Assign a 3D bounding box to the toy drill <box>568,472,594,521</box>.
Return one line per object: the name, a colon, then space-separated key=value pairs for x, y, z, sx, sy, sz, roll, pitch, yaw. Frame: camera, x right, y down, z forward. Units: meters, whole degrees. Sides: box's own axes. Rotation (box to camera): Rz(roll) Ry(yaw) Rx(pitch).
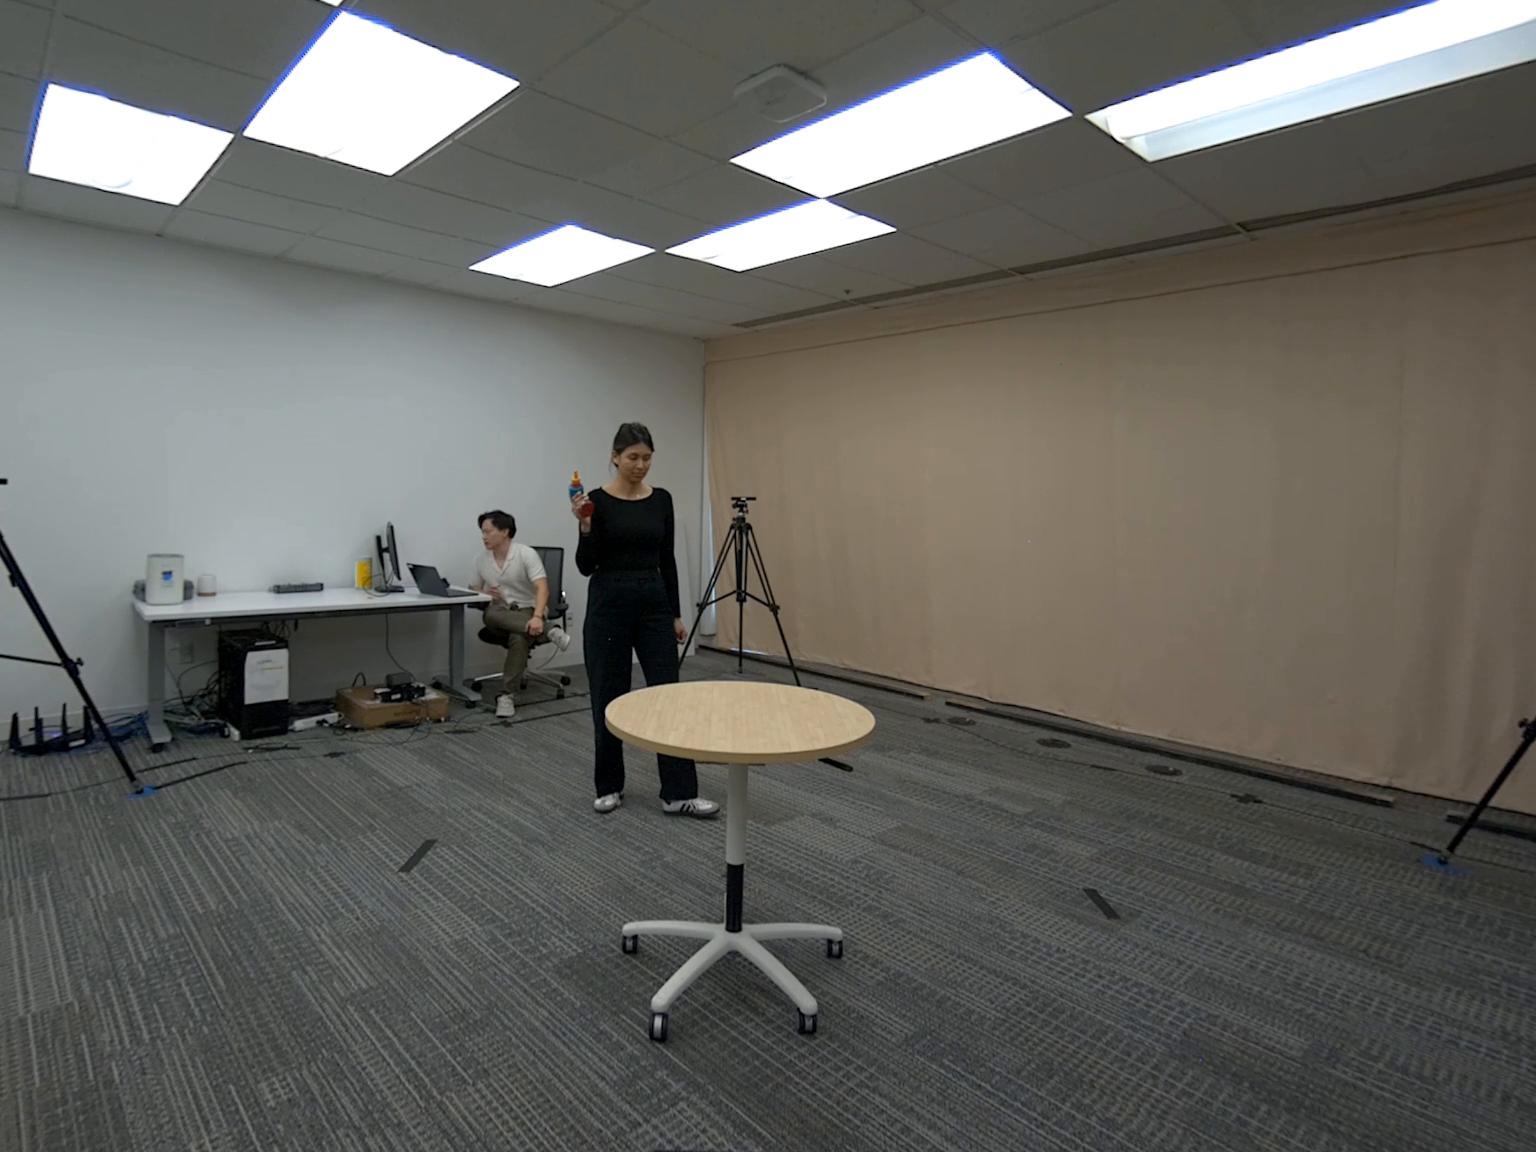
toy drill: x=-0.773 y=-0.337 z=3.402 sx=0.060 sy=0.167 sz=0.151 roll=-14 pitch=45 yaw=-29
